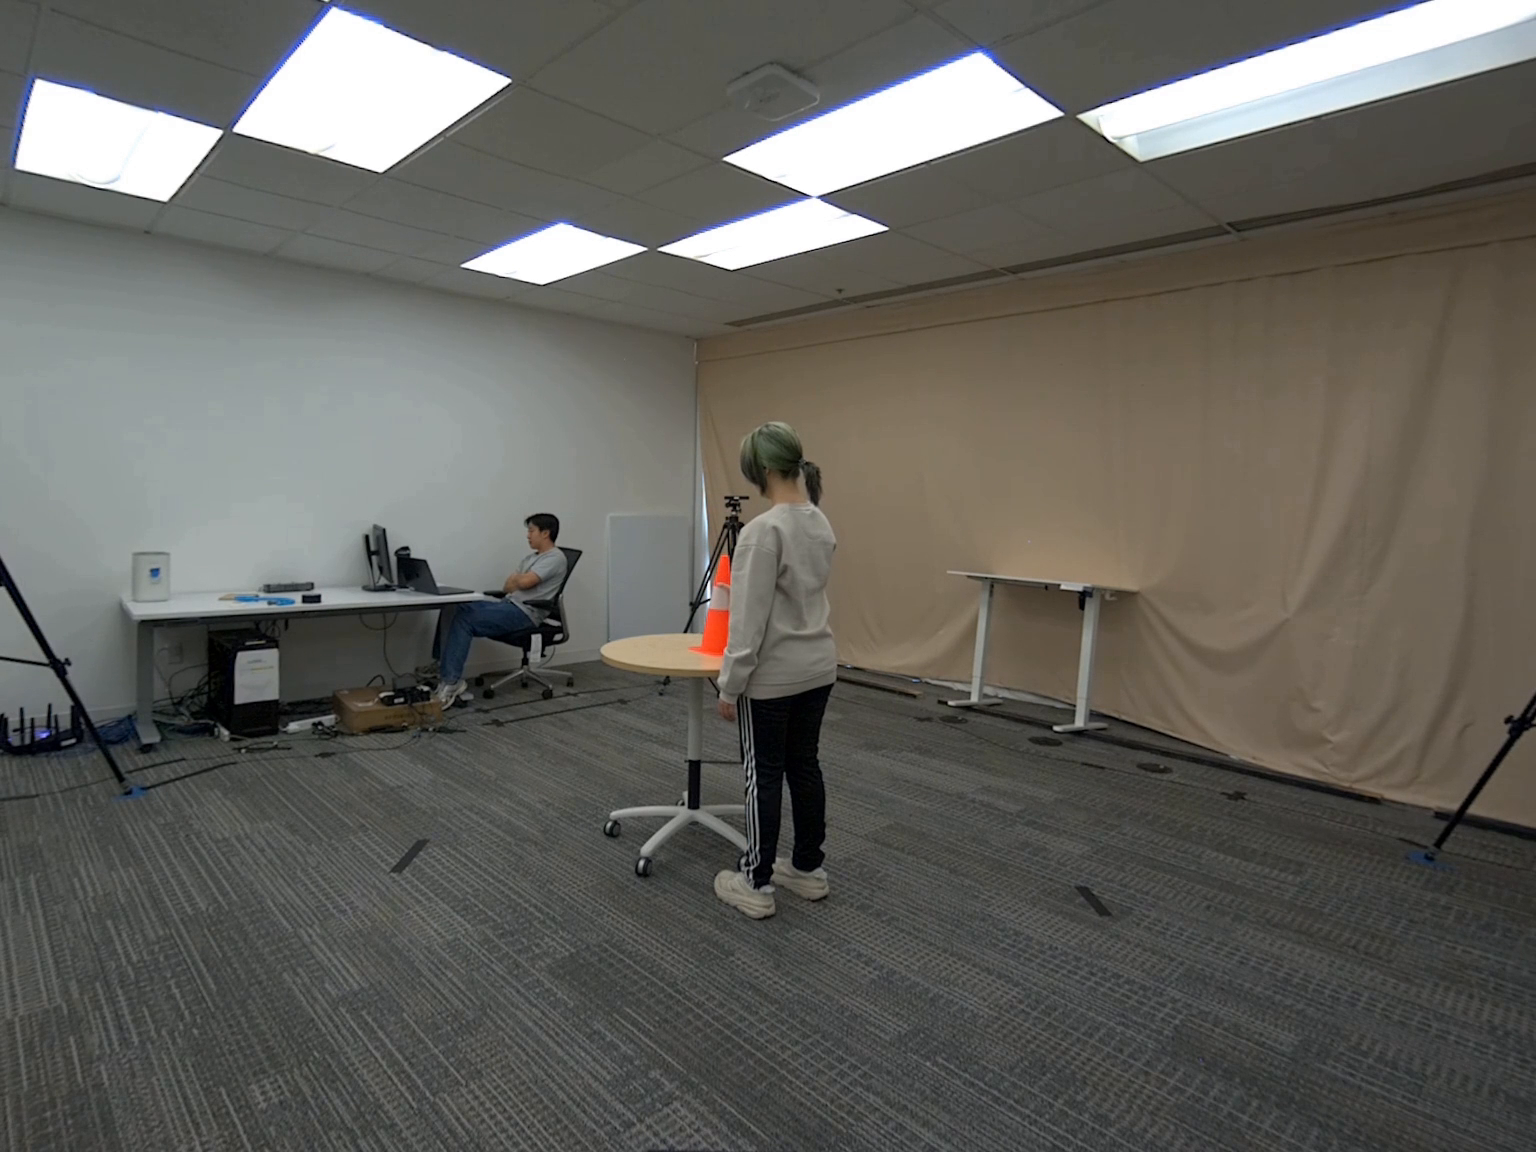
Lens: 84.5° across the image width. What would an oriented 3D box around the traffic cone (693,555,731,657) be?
[{"bbox_3d":[-0.186,0.112,3.362,0.208,0.384,0.200,3,-1,44],"label":"traffic cone"}]
